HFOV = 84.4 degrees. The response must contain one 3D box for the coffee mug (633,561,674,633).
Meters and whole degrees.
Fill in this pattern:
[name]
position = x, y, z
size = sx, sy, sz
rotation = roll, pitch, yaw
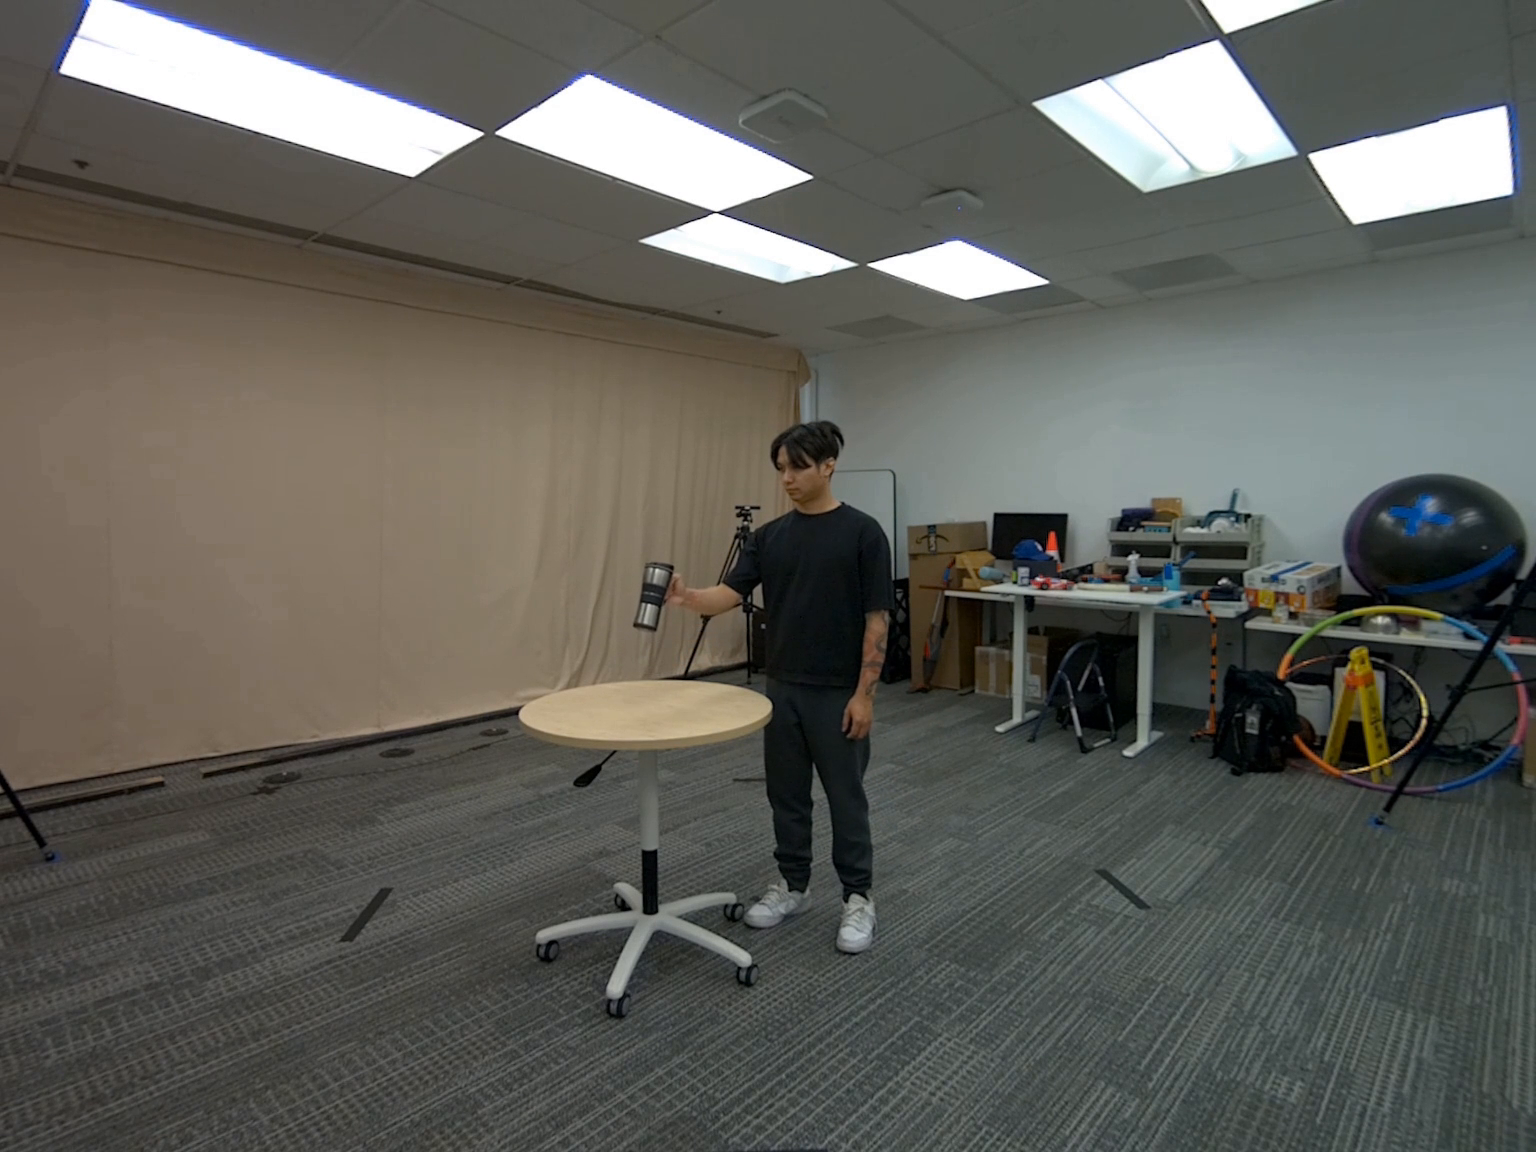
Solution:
[coffee mug]
position = -0.321, 0.069, 2.514
size = 0.118, 0.204, 0.090
rotation = 17, -15, -40
